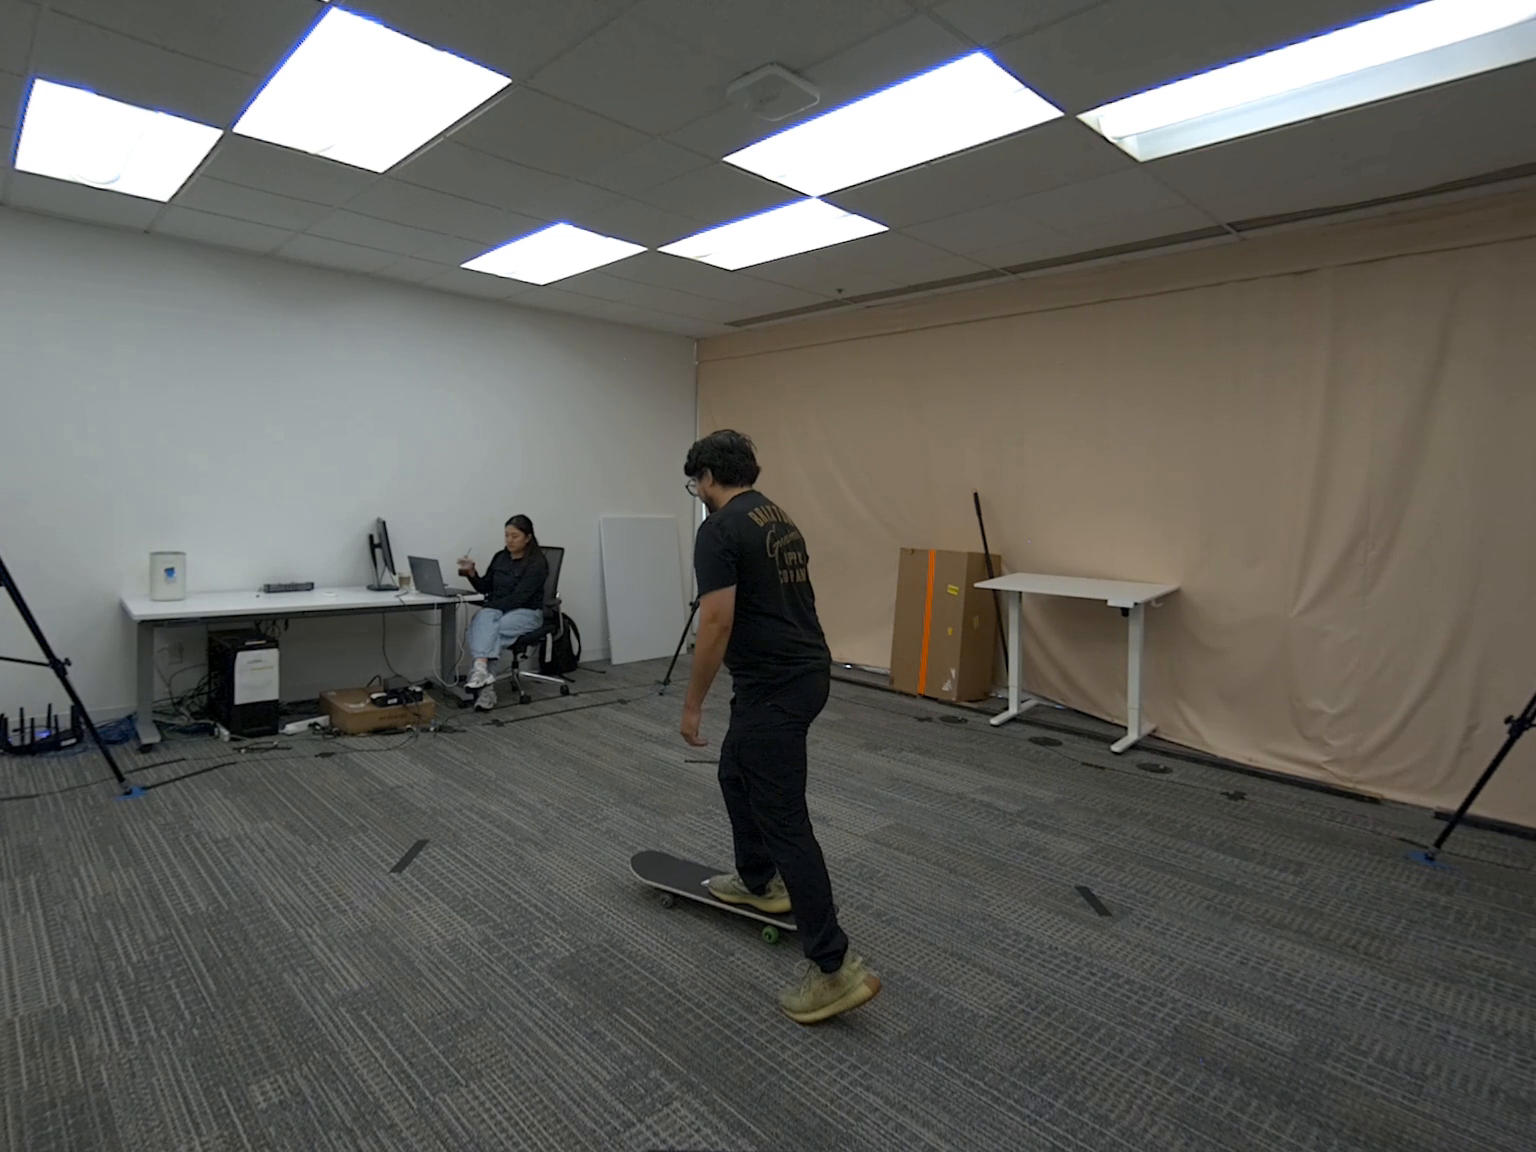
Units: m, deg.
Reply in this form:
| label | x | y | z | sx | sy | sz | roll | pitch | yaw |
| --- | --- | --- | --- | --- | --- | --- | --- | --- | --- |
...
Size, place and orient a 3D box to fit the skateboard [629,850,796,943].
| label | x | y | z | sx | sy | sz | roll | pitch | yaw |
| --- | --- | --- | --- | --- | --- | --- | --- | --- | --- |
| skateboard | -0.134 | 1.081 | 2.799 | 0.803 | 0.110 | 0.190 | 4 | 8 | 31 |
